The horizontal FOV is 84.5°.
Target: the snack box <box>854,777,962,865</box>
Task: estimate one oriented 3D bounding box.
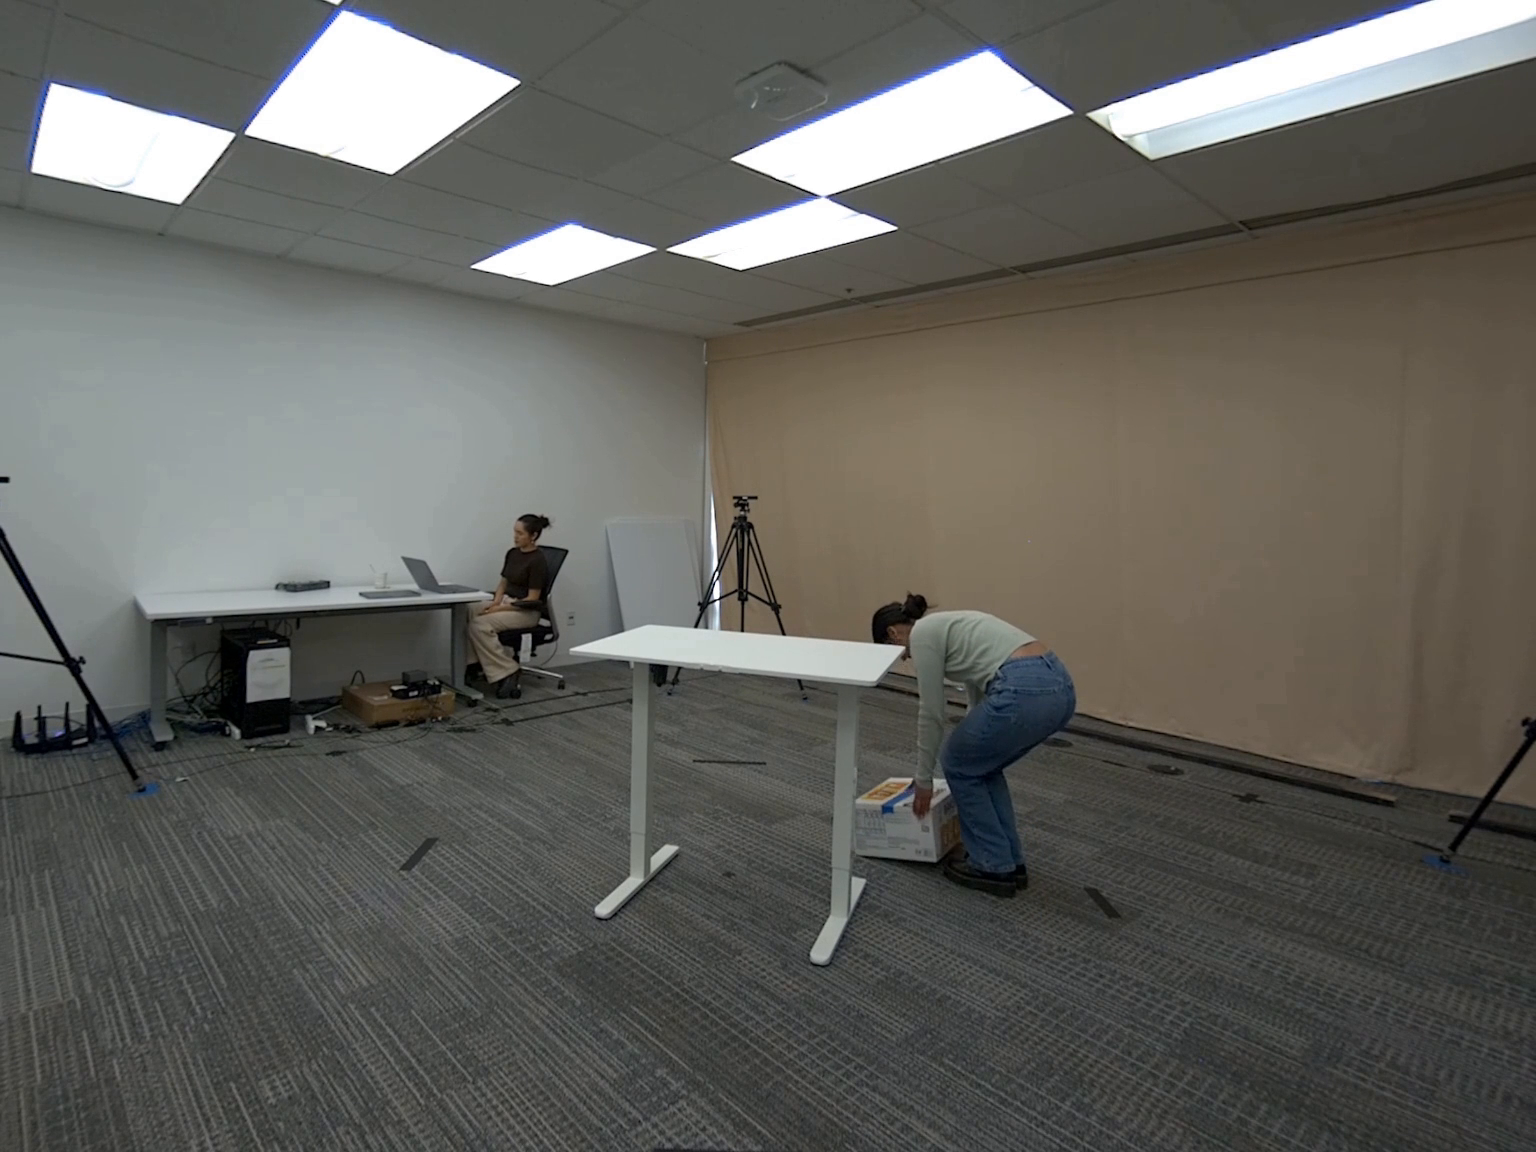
[{"bbox_3d":[0.577,0.966,3.377,0.347,0.206,0.397,-8,-1,33],"label":"snack box"}]
